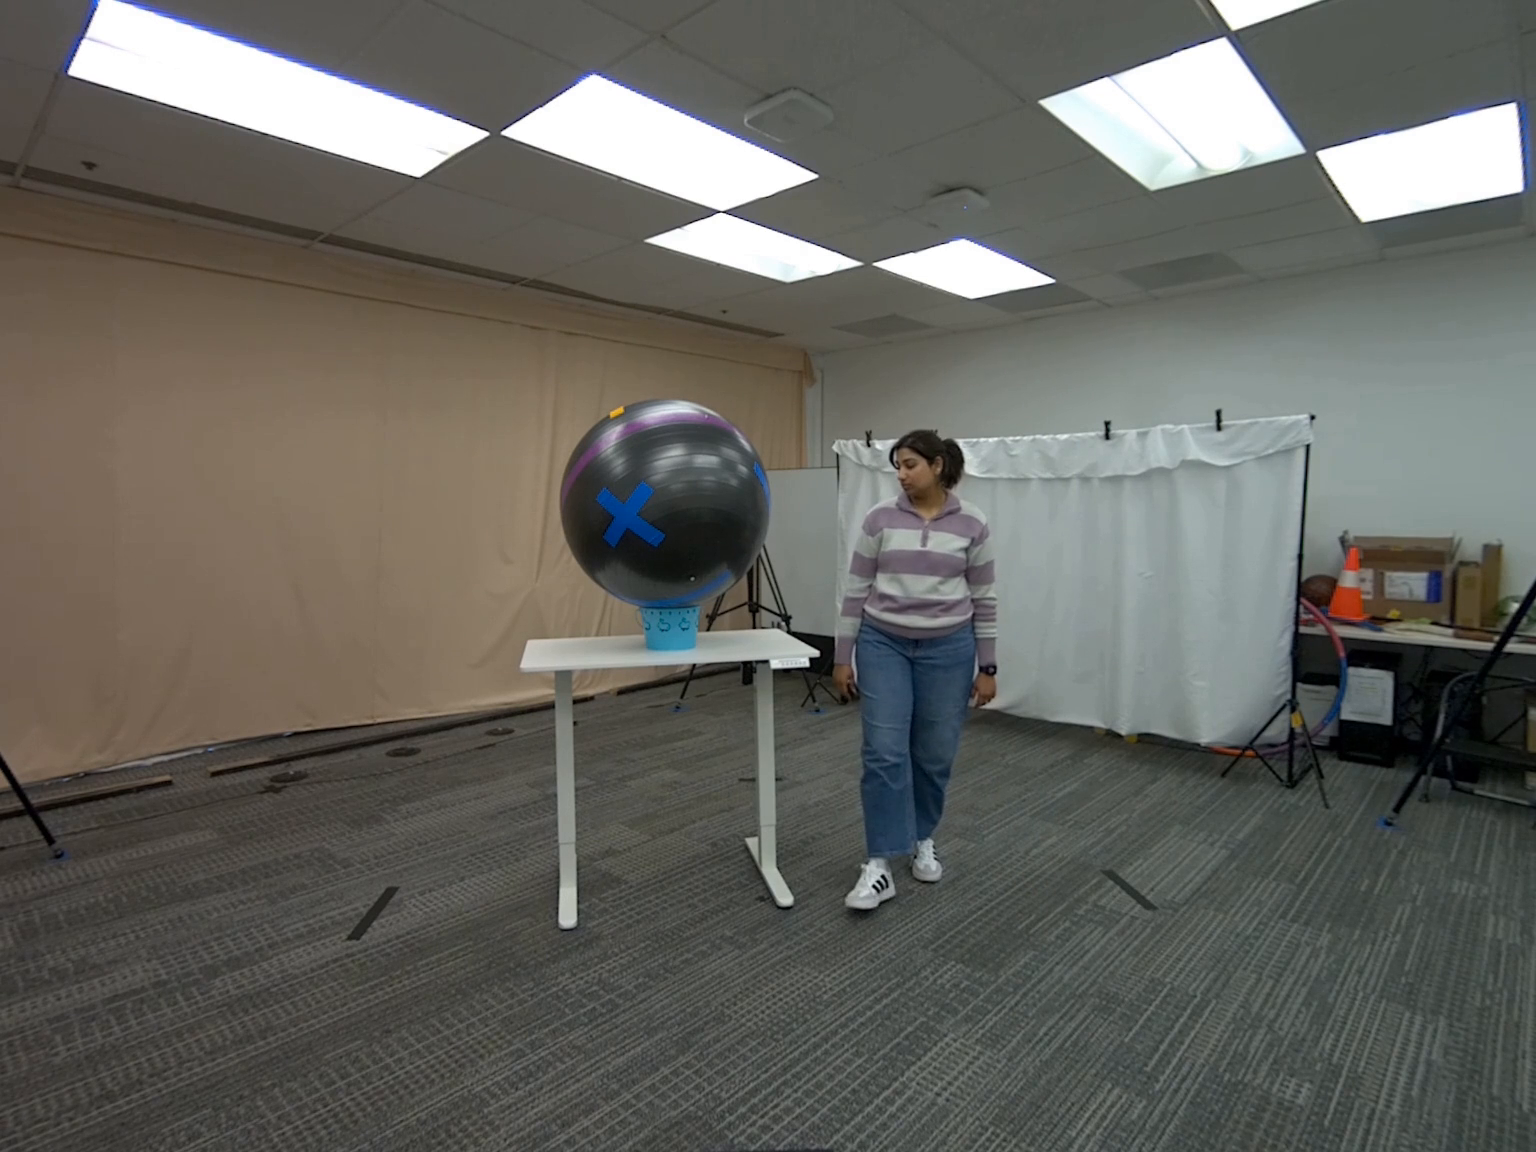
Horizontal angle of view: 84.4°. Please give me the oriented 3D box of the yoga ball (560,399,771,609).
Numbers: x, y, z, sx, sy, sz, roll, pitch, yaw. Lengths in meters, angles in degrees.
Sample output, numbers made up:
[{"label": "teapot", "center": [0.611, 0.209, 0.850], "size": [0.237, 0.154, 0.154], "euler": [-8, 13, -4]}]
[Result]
[{"label": "yoga ball", "center": [-0.373, -0.252, 3.040], "size": [0.757, 0.756, 0.760], "euler": [0, 4, -2]}]
